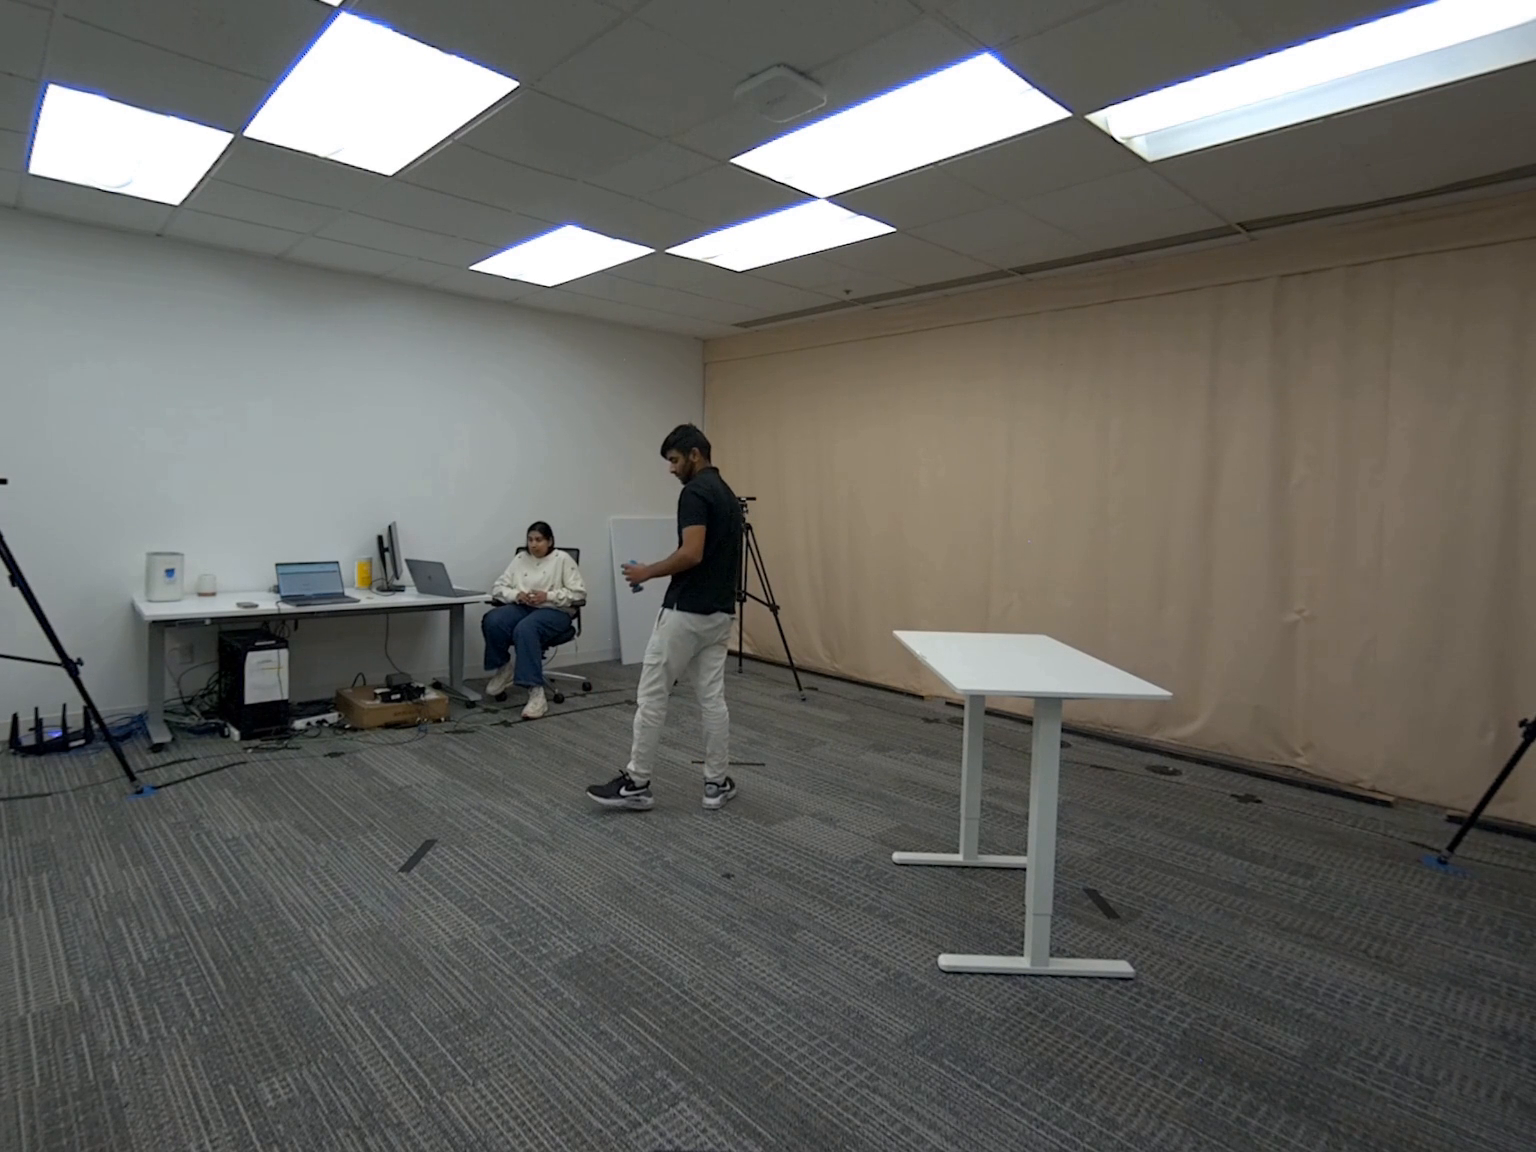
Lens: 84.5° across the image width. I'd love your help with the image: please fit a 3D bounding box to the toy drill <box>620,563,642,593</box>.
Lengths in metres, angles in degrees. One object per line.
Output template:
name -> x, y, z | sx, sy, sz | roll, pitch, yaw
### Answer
toy drill -> -0.601, -0.003, 3.820 | 0.061, 0.145, 0.171 | -16, 7, -1
